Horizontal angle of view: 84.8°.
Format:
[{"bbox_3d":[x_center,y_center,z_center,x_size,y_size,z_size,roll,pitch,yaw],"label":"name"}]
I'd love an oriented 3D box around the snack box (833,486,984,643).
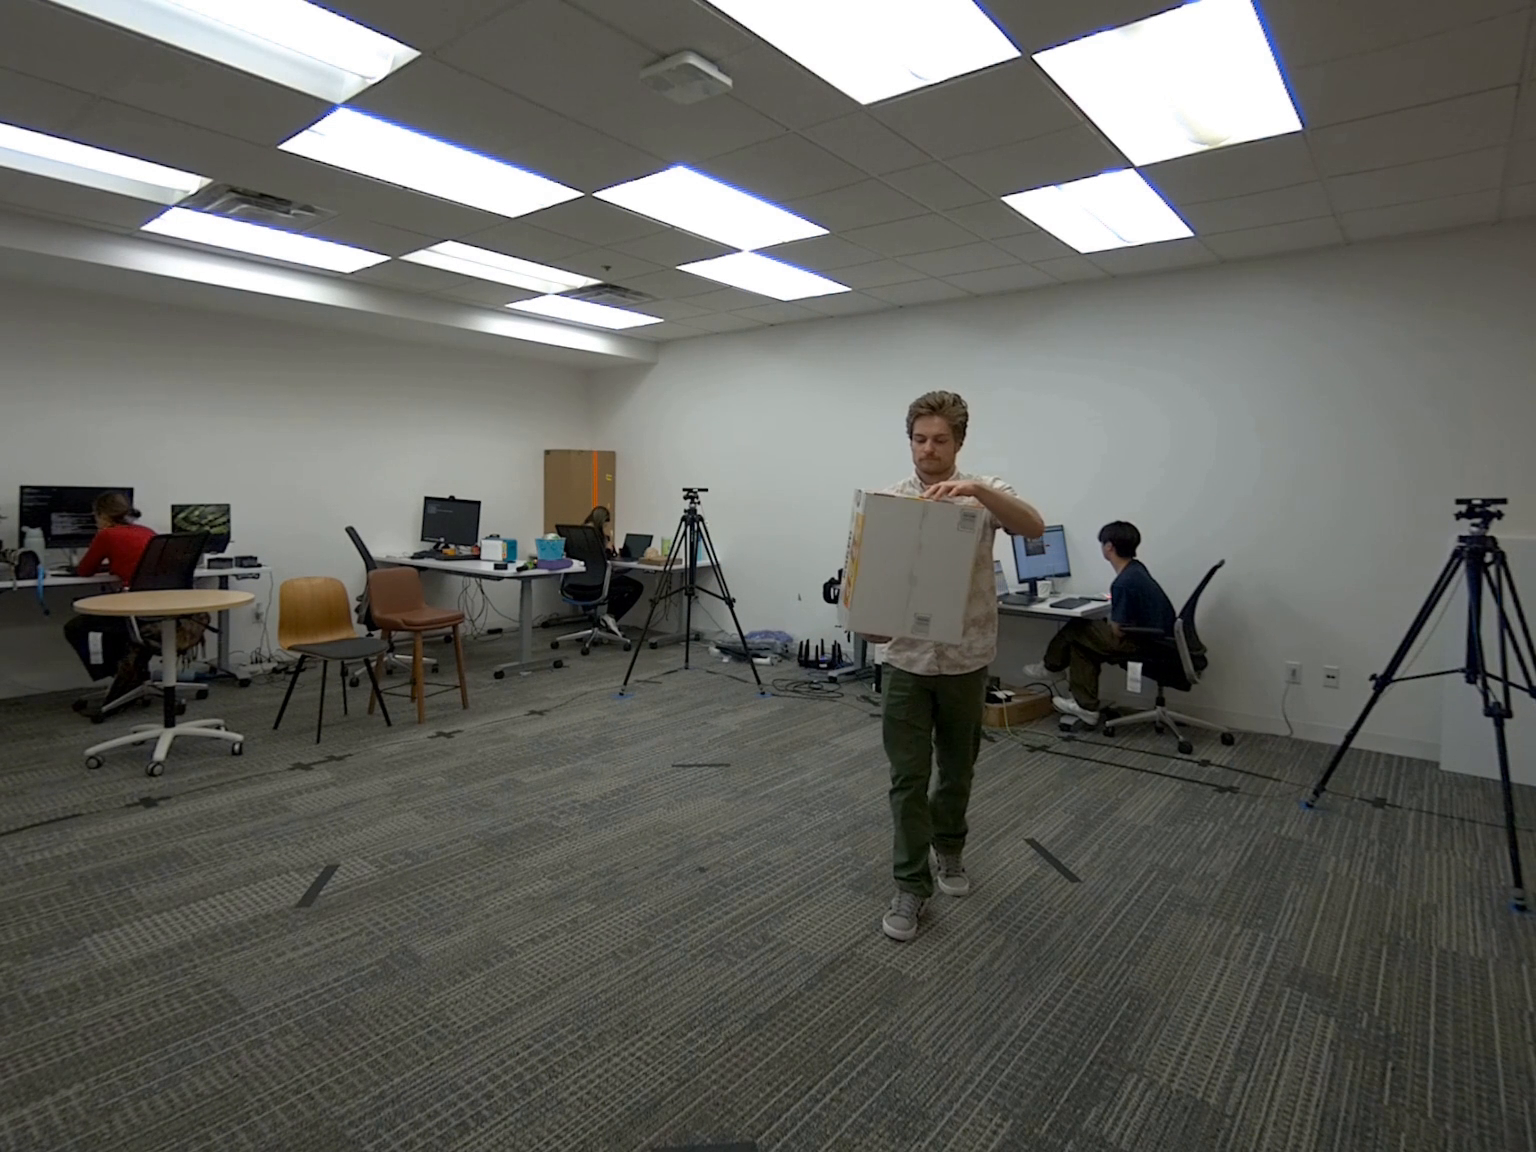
[{"bbox_3d":[0.406,-0.037,2.498,0.340,0.403,0.207,9,6,0],"label":"snack box"}]
